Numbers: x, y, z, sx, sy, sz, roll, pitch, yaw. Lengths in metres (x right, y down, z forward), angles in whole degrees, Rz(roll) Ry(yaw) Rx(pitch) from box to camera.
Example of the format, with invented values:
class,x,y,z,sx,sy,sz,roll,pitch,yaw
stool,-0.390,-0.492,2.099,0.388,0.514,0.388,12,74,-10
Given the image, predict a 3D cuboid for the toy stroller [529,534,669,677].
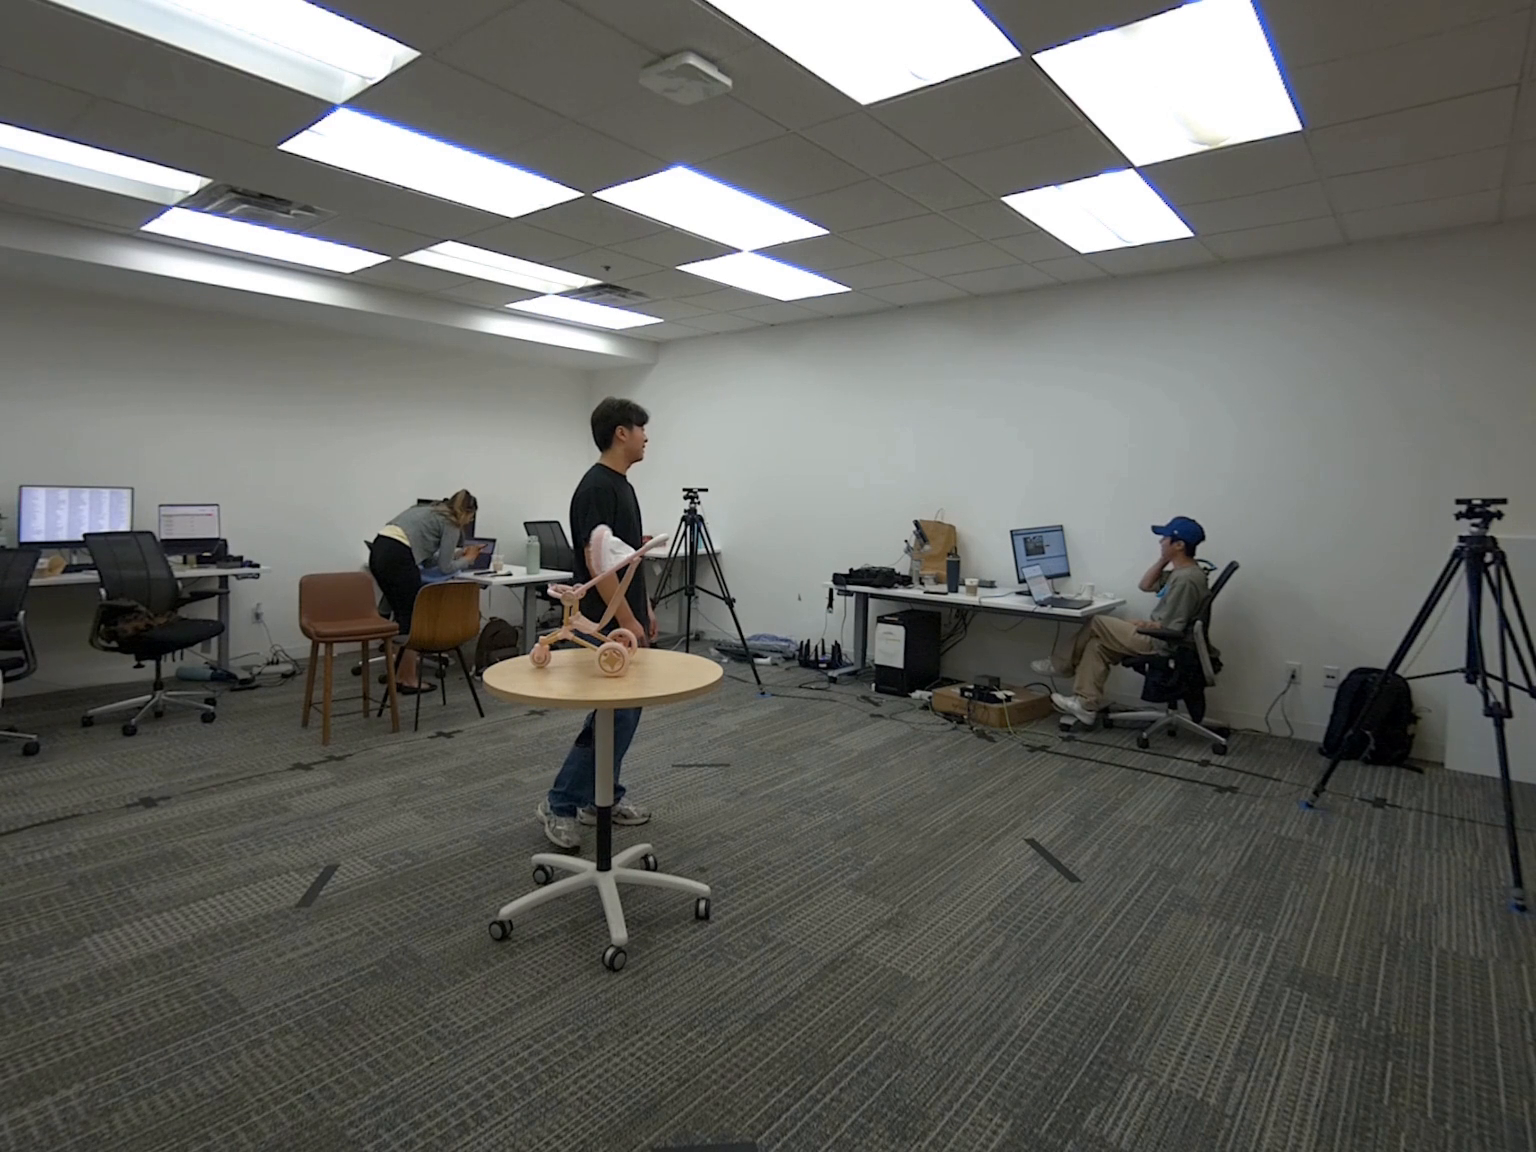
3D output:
class,x,y,z,sx,sy,sz,roll,pitch,yaw
toy stroller,-0.569,0.075,2.764,0.342,0.534,0.281,15,4,2
